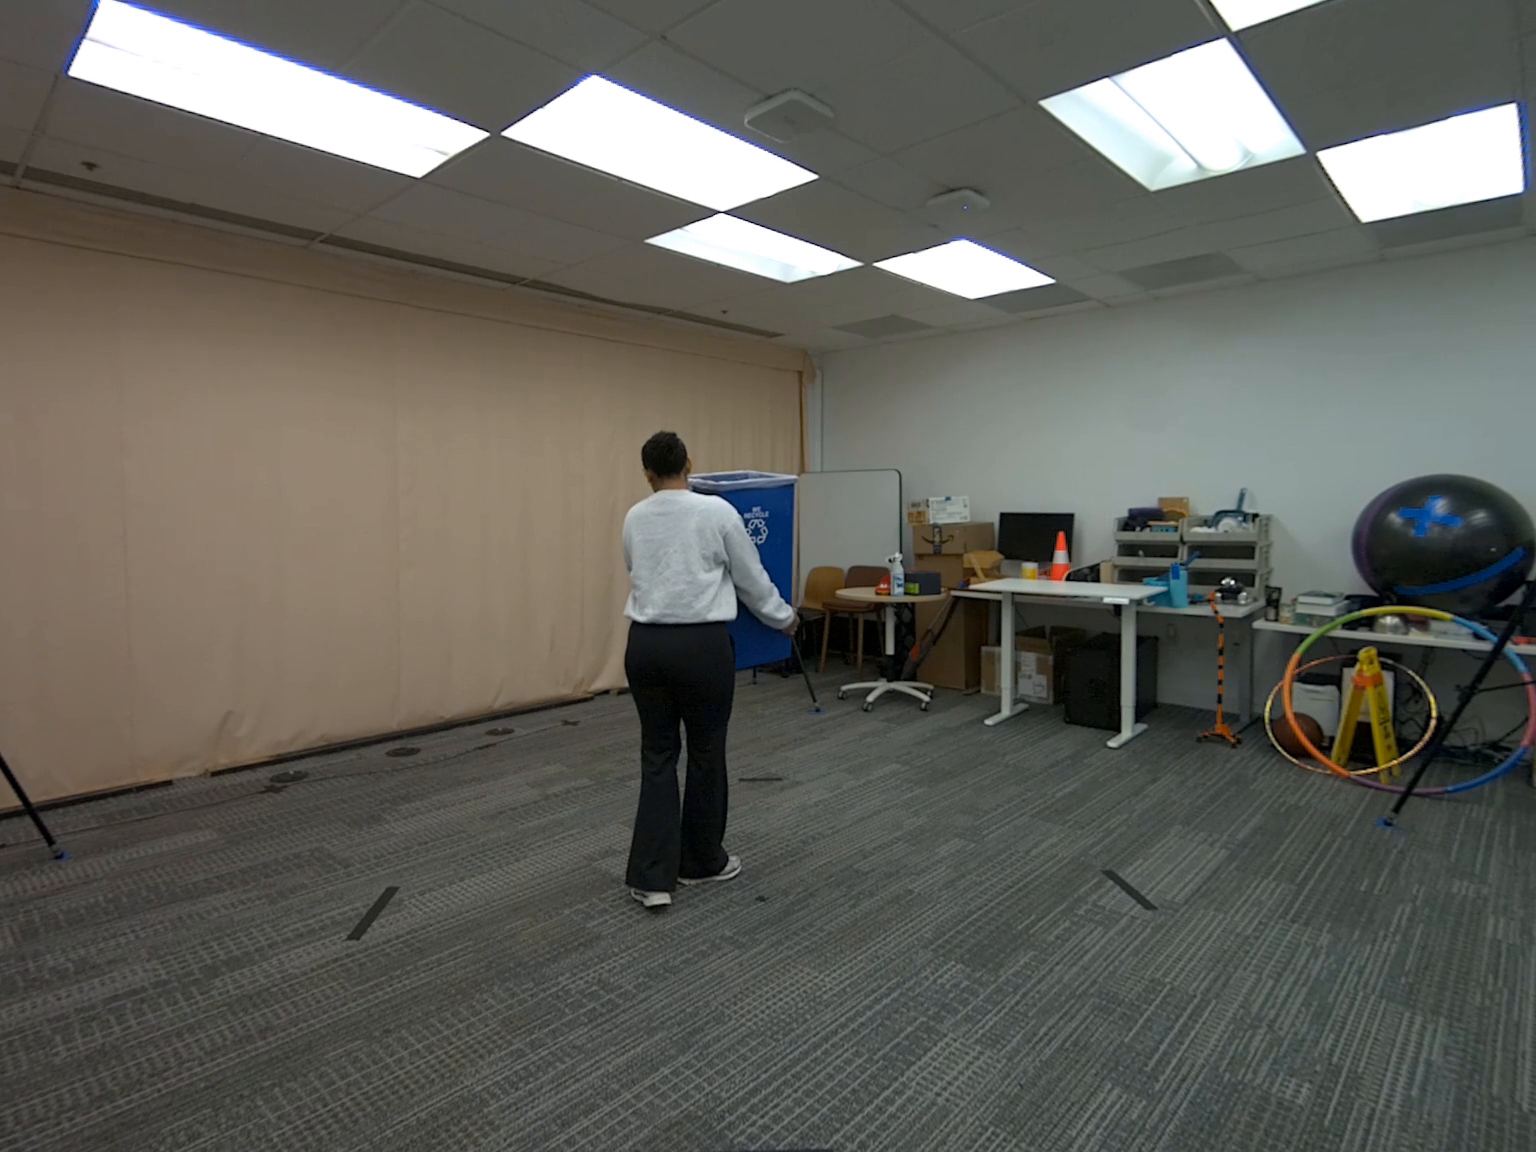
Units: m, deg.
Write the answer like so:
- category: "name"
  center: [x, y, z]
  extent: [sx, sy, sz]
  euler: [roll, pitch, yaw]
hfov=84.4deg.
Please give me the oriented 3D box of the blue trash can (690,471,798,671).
- category: "blue trash can"
  center: [-0.109, -0.037, 3.303]
  extent: [0.368, 0.709, 0.386]
  euler: [-8, 12, -33]
